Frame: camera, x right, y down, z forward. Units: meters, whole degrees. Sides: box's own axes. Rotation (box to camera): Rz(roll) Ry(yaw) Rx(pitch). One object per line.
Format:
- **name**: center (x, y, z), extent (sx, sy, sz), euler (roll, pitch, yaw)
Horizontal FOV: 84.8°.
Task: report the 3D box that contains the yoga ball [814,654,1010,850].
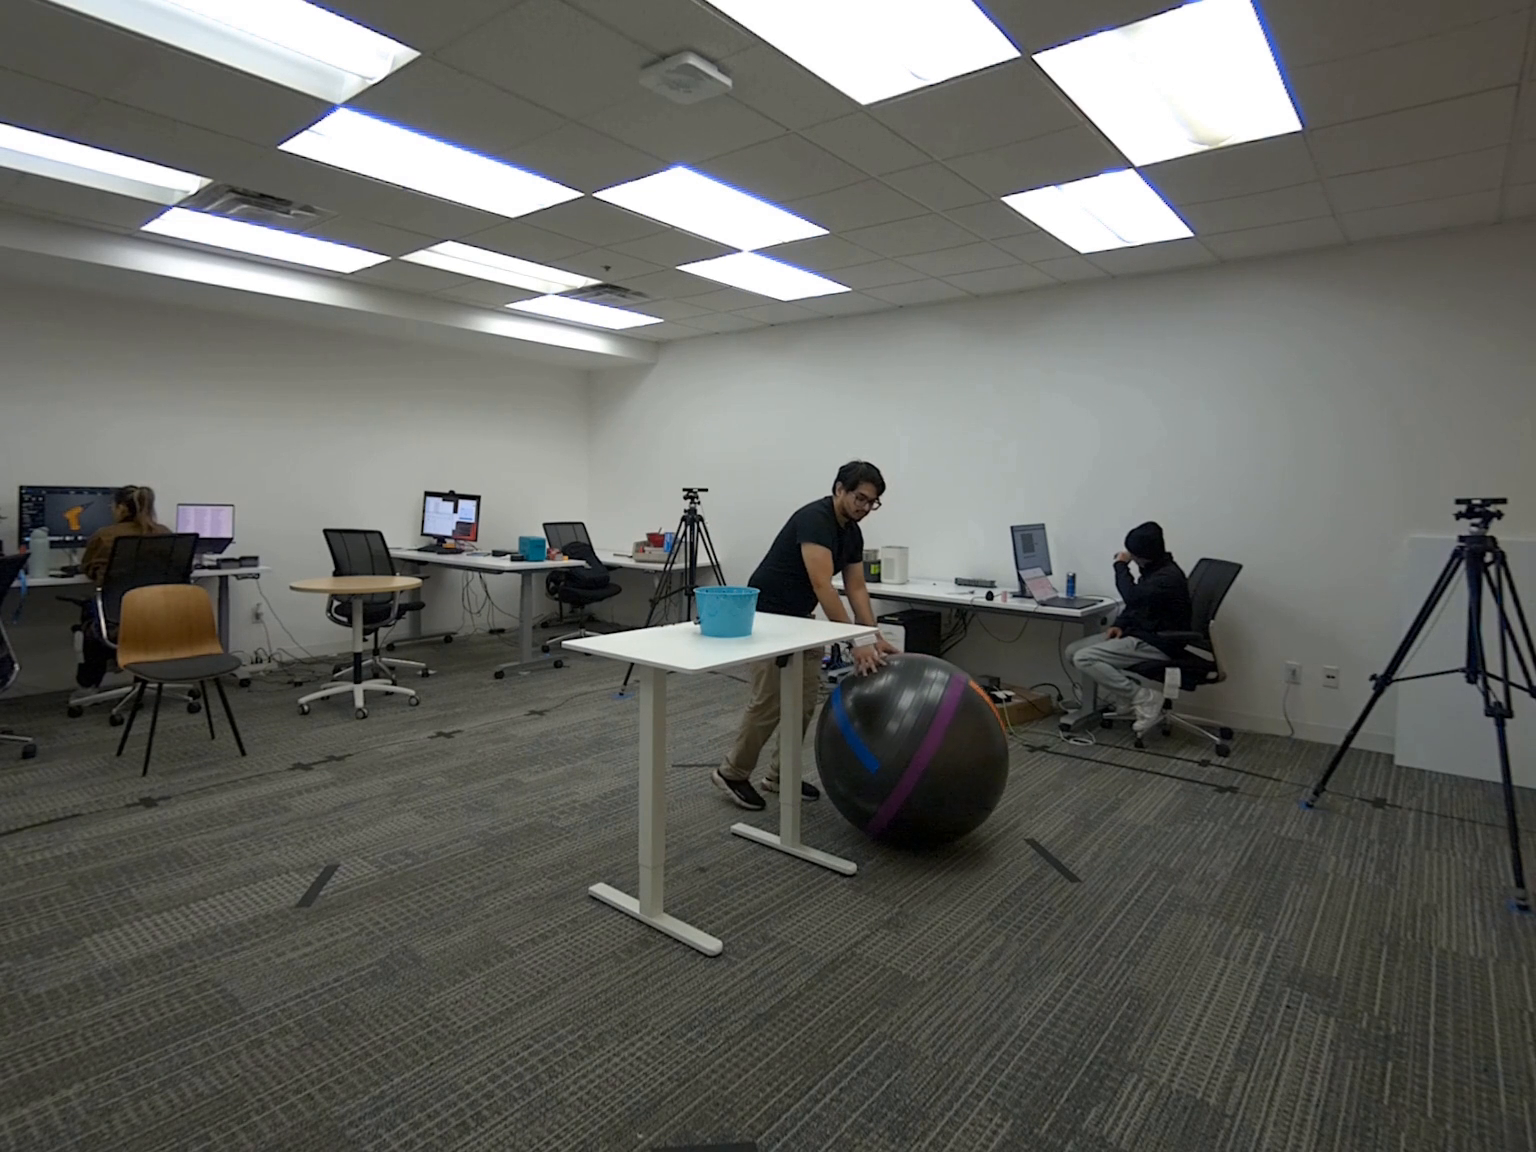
- **yoga ball**: center (0.576, 0.695, 3.422), extent (0.757, 0.755, 0.762), euler (1, 4, -2)
